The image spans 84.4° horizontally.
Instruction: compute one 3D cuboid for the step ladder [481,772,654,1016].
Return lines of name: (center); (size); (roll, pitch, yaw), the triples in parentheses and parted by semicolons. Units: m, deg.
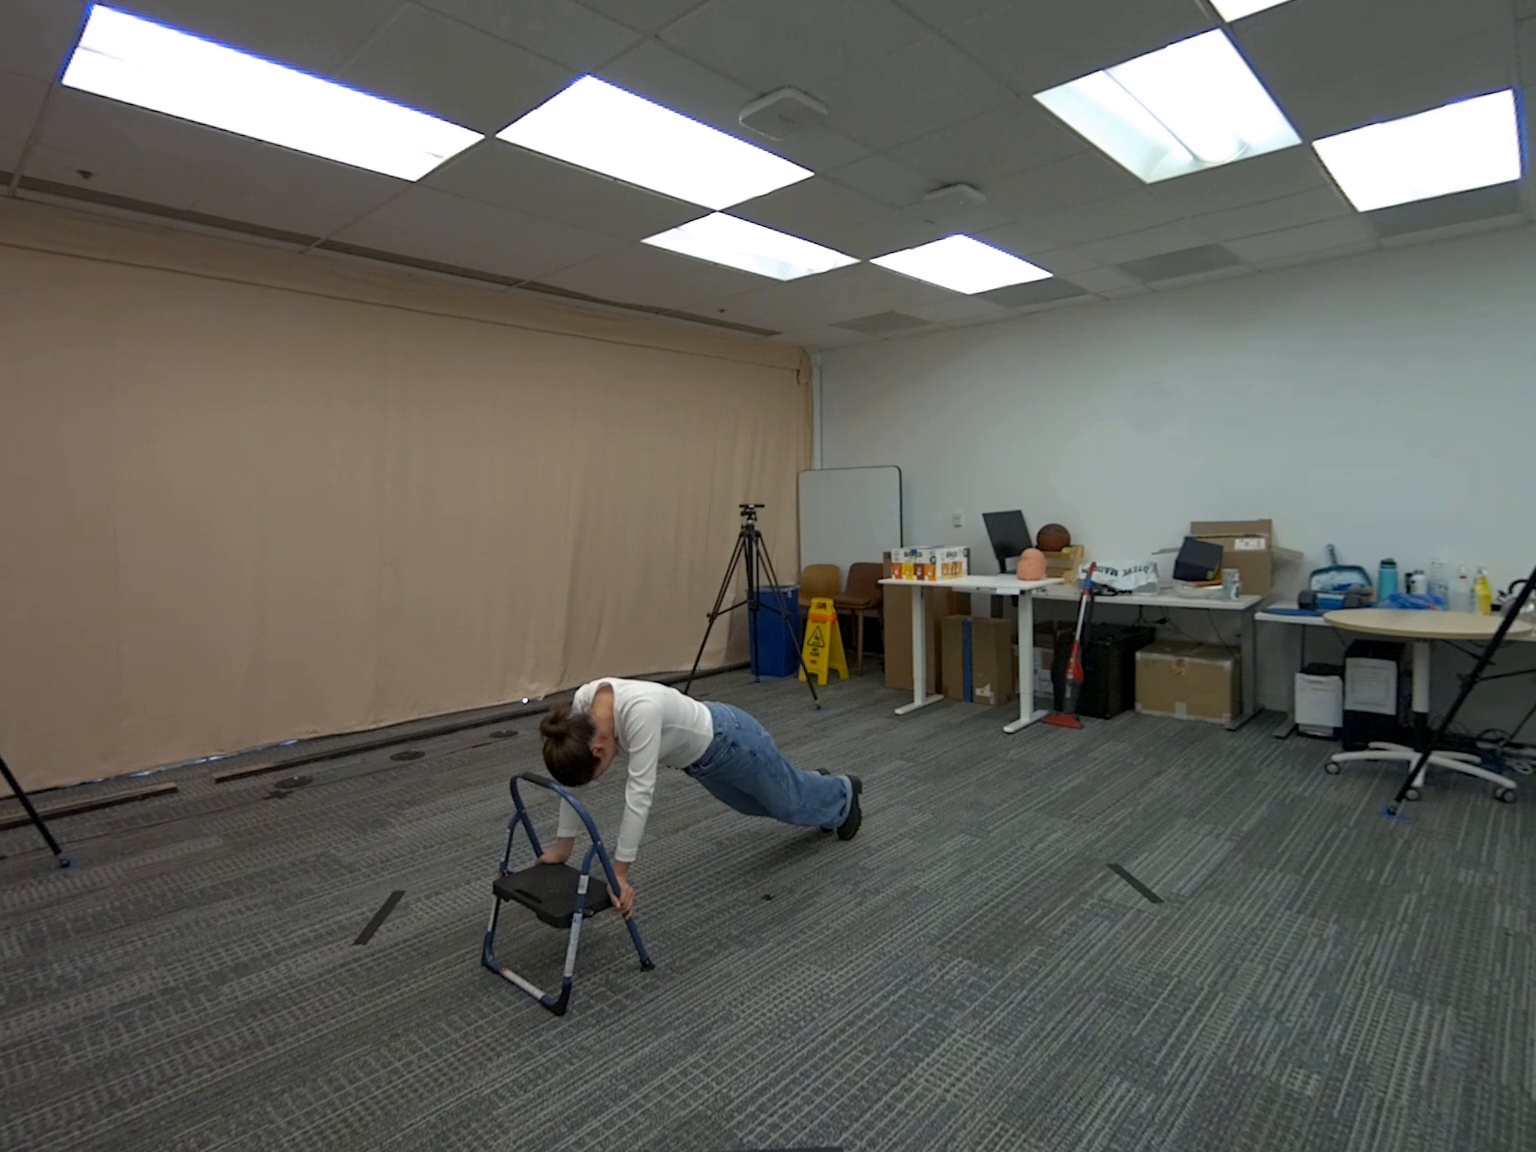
step ladder: (-0.623, 0.893, 2.547); (0.445, 0.605, 0.339); (2, 4, 41)
